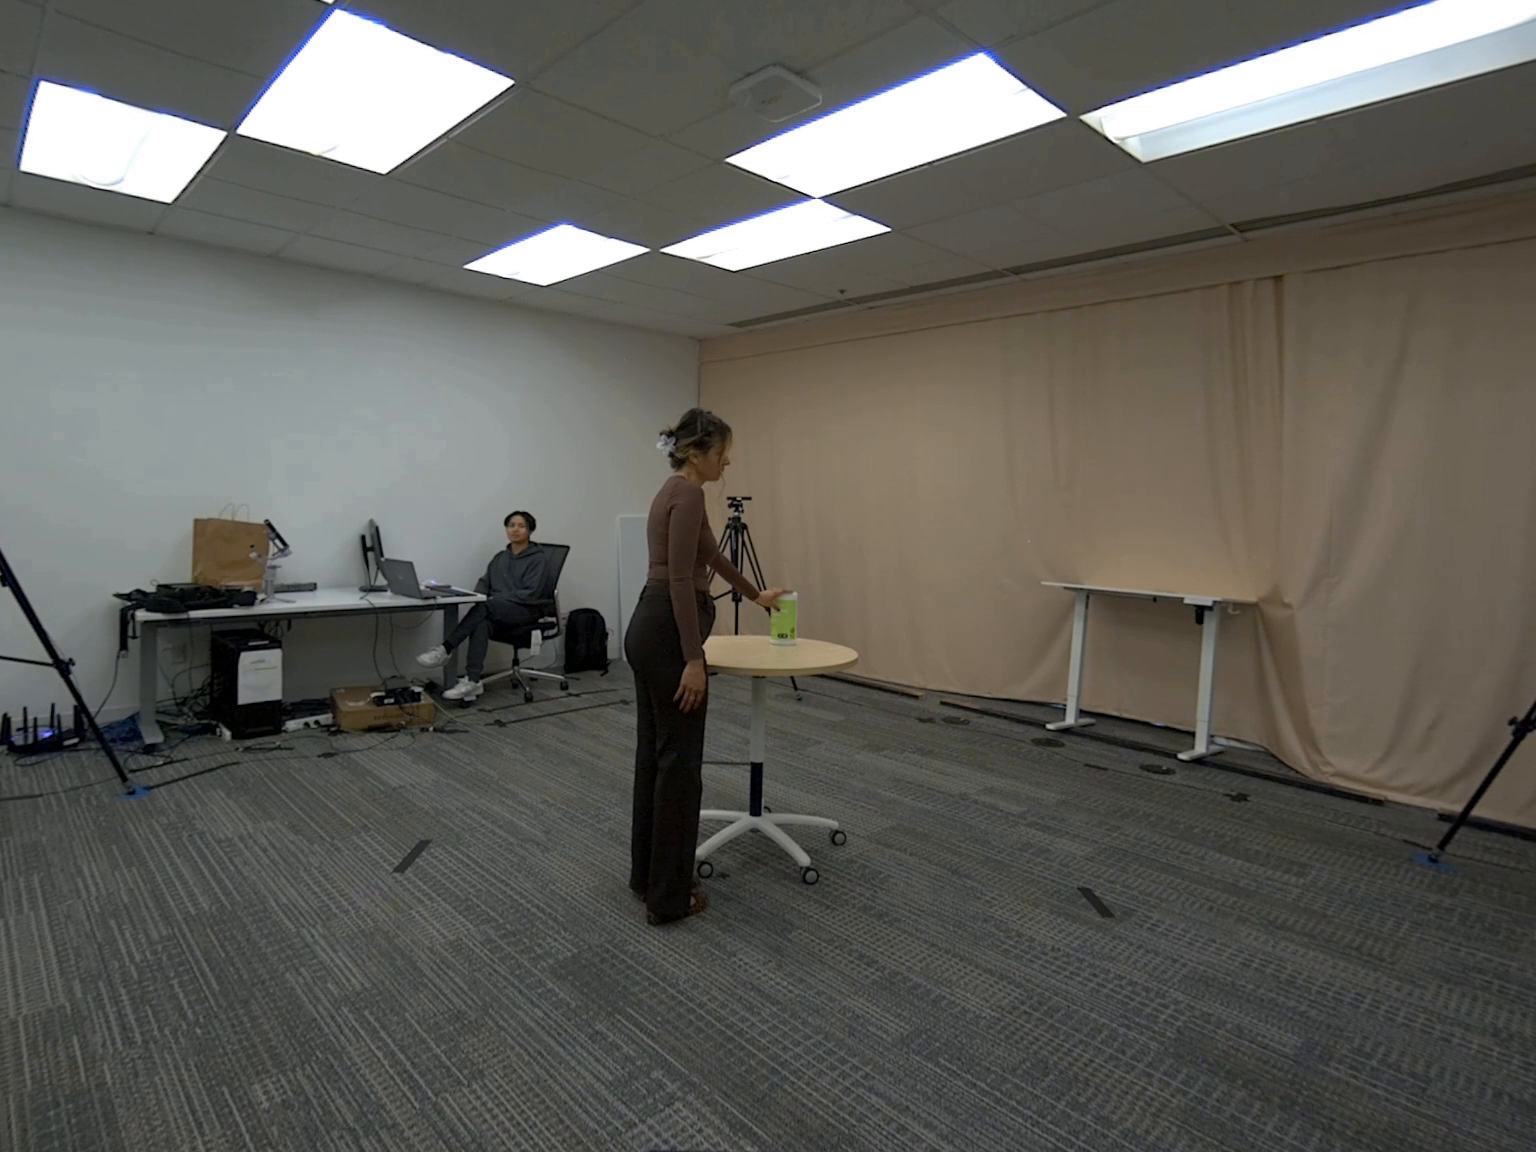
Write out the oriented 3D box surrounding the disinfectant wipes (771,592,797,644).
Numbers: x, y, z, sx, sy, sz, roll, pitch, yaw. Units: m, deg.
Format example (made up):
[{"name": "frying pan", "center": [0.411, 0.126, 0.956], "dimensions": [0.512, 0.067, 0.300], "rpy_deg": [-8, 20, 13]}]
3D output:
[{"name": "disinfectant wipes", "center": [0.059, 0.175, 3.492], "dimensions": [0.118, 0.217, 0.118], "rpy_deg": [1, 4, -1]}]
